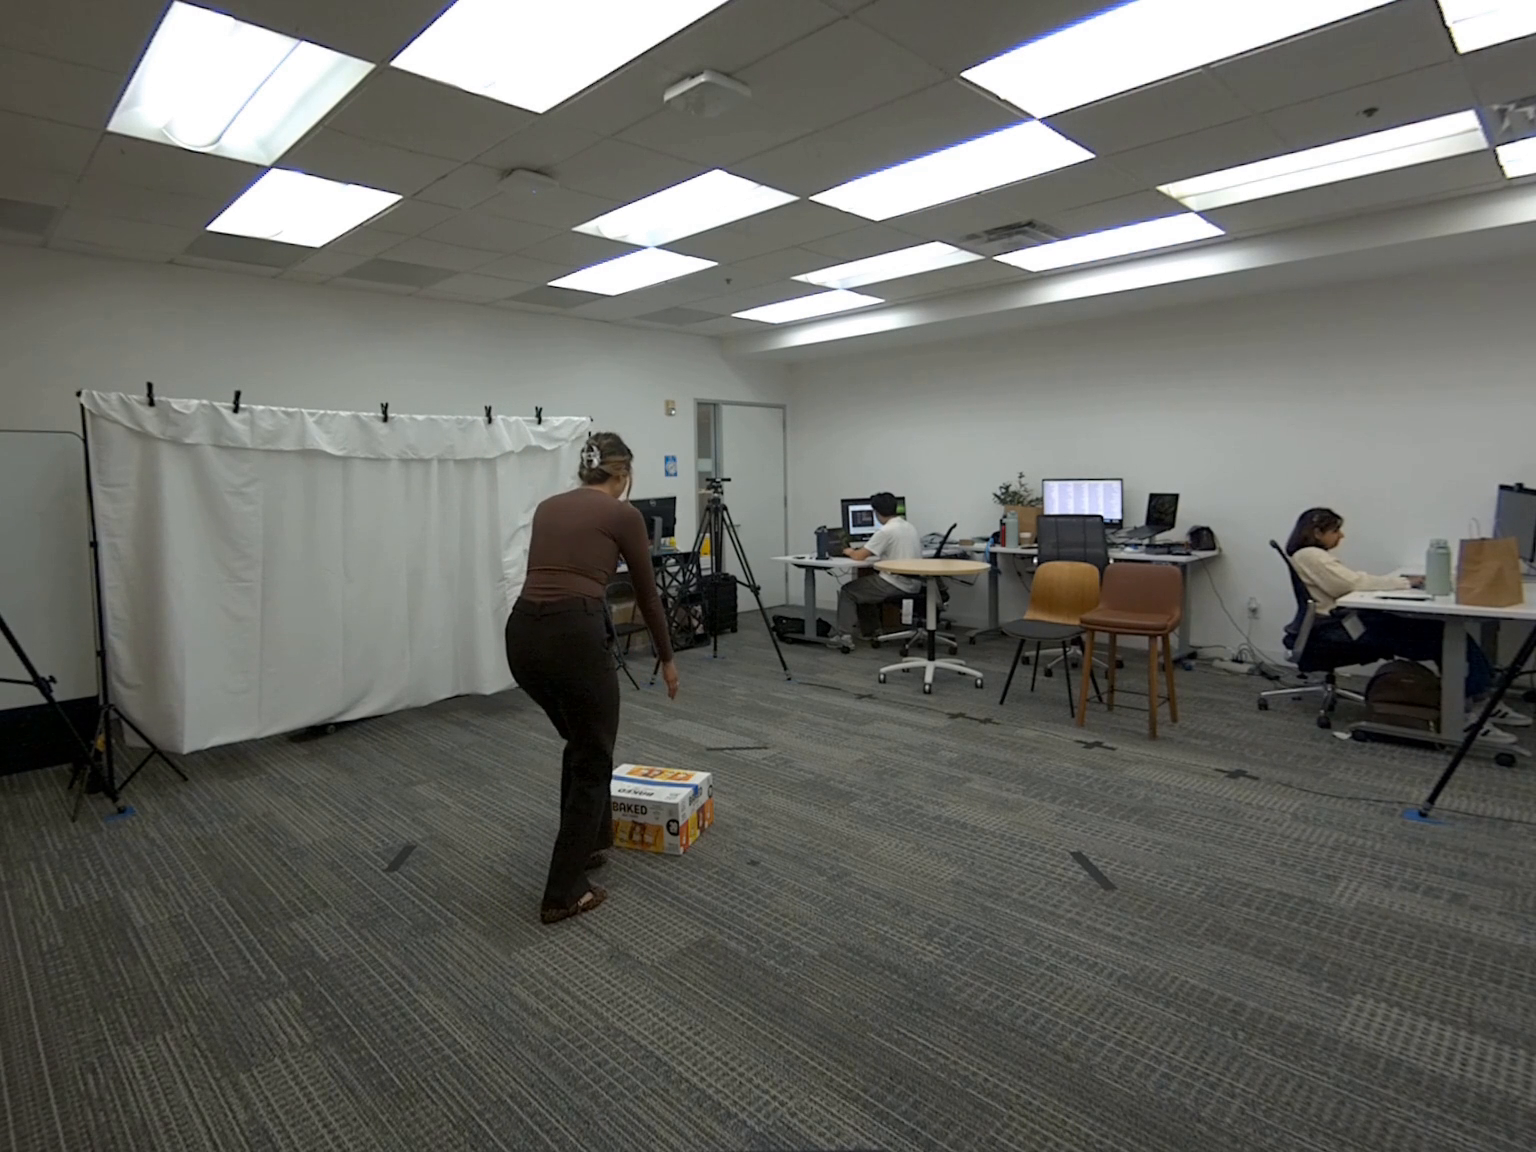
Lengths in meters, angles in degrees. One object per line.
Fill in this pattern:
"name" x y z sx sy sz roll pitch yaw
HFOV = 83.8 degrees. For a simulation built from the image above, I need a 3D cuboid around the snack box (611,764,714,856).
"snack box" -0.468 0.915 3.386 0.413 0.205 0.335 1 6 19
